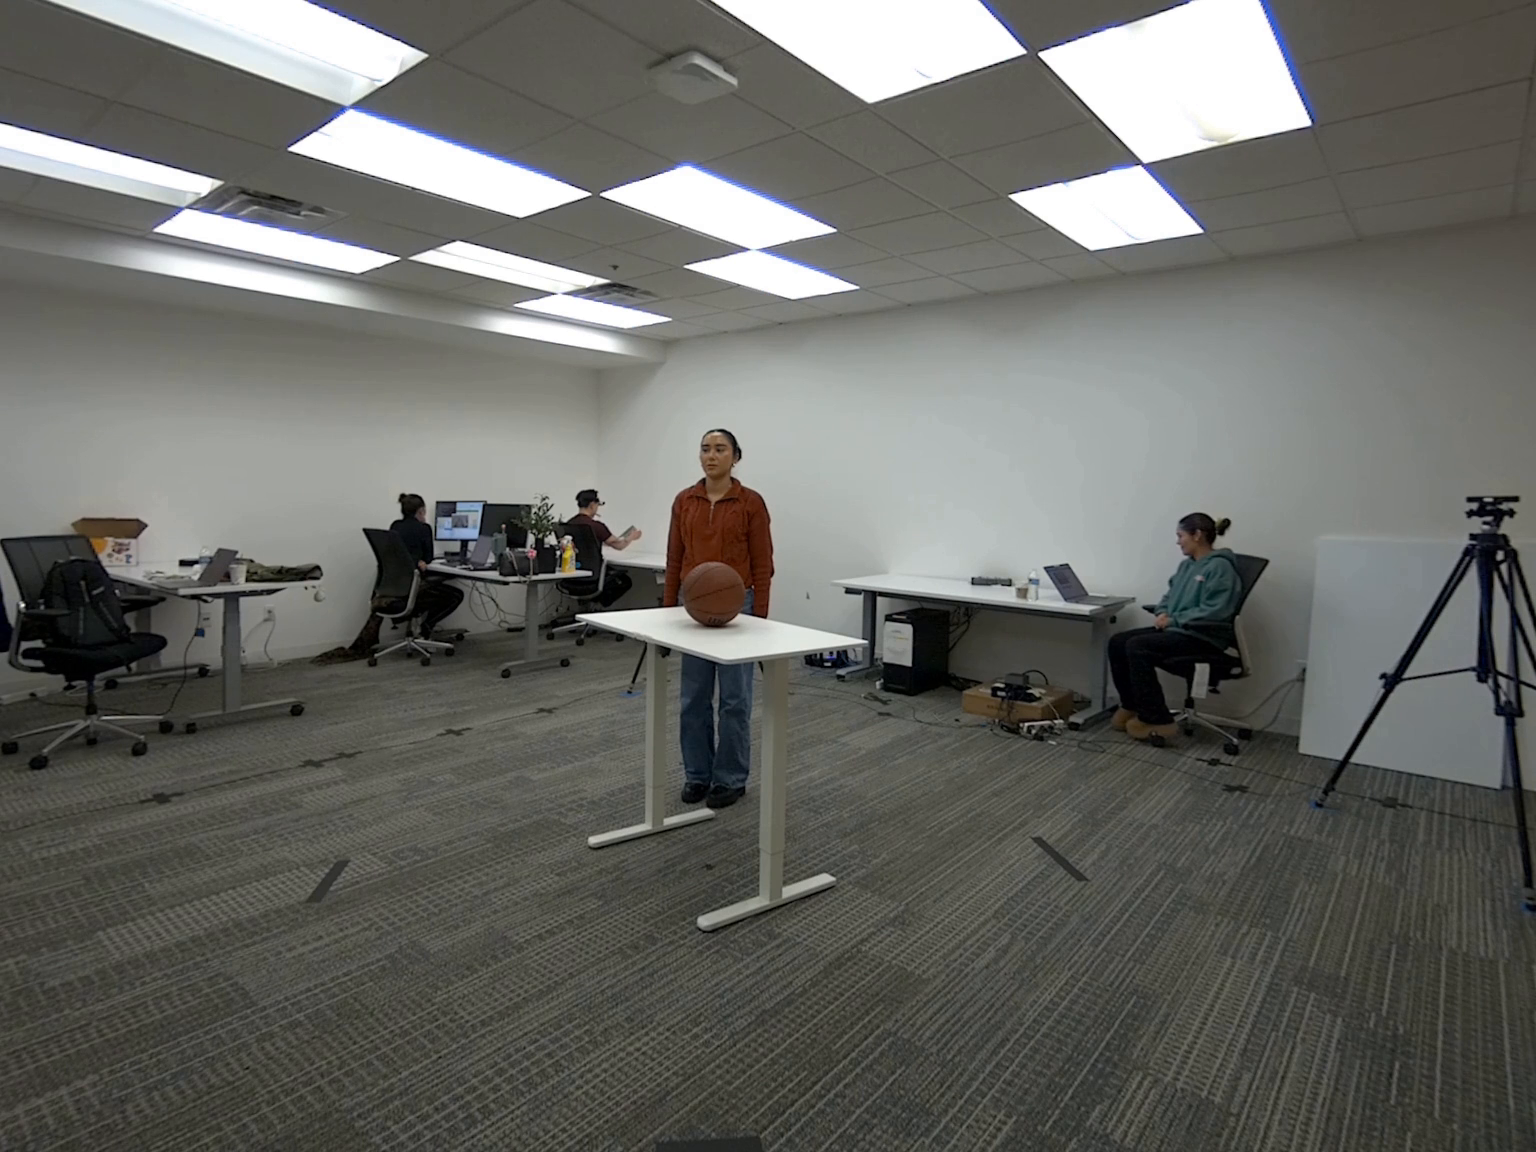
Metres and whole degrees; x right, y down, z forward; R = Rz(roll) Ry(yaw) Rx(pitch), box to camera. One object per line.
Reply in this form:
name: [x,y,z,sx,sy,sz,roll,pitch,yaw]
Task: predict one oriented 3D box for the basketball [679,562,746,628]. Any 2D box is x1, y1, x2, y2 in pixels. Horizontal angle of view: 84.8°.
basketball: [-0.208,0.064,3.140,0.235,0.235,0.237,1,4,-2]
